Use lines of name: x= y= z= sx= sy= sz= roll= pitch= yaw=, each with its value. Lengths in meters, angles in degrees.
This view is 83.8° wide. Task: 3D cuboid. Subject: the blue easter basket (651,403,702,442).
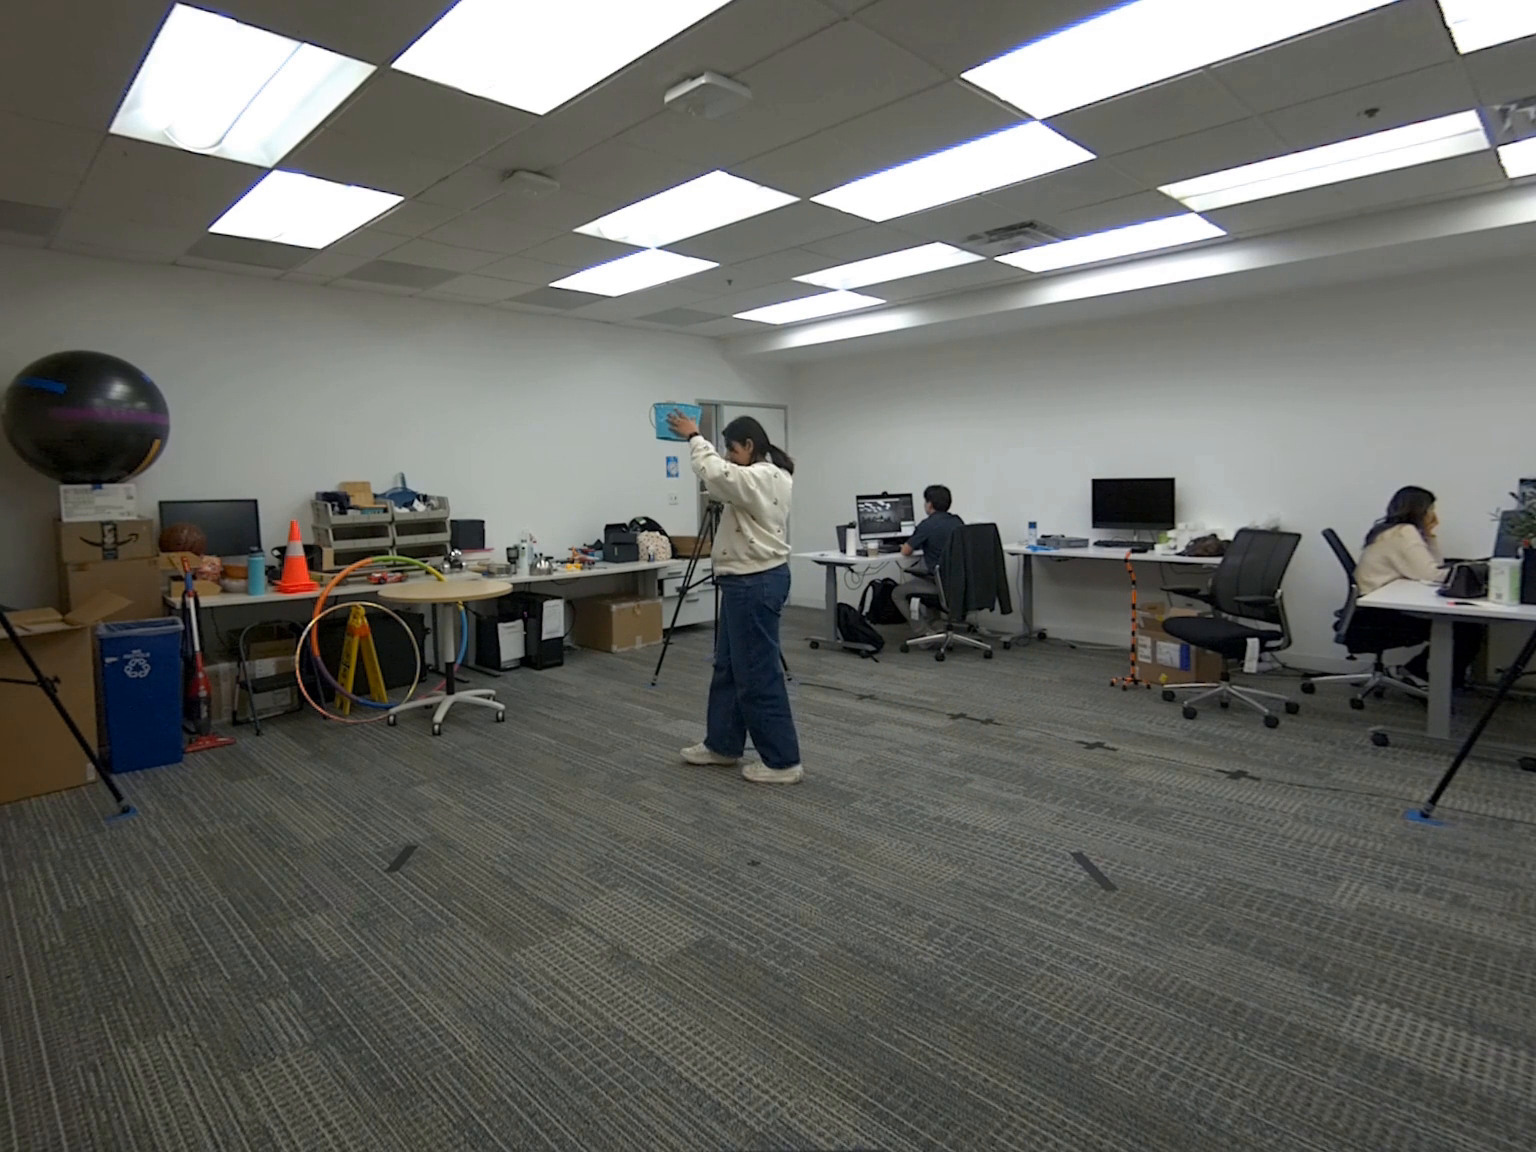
blue easter basket: x=-0.416 y=-0.710 z=3.958 sx=0.243 sy=0.155 sz=0.244 roll=5 pitch=3 yaw=-2
